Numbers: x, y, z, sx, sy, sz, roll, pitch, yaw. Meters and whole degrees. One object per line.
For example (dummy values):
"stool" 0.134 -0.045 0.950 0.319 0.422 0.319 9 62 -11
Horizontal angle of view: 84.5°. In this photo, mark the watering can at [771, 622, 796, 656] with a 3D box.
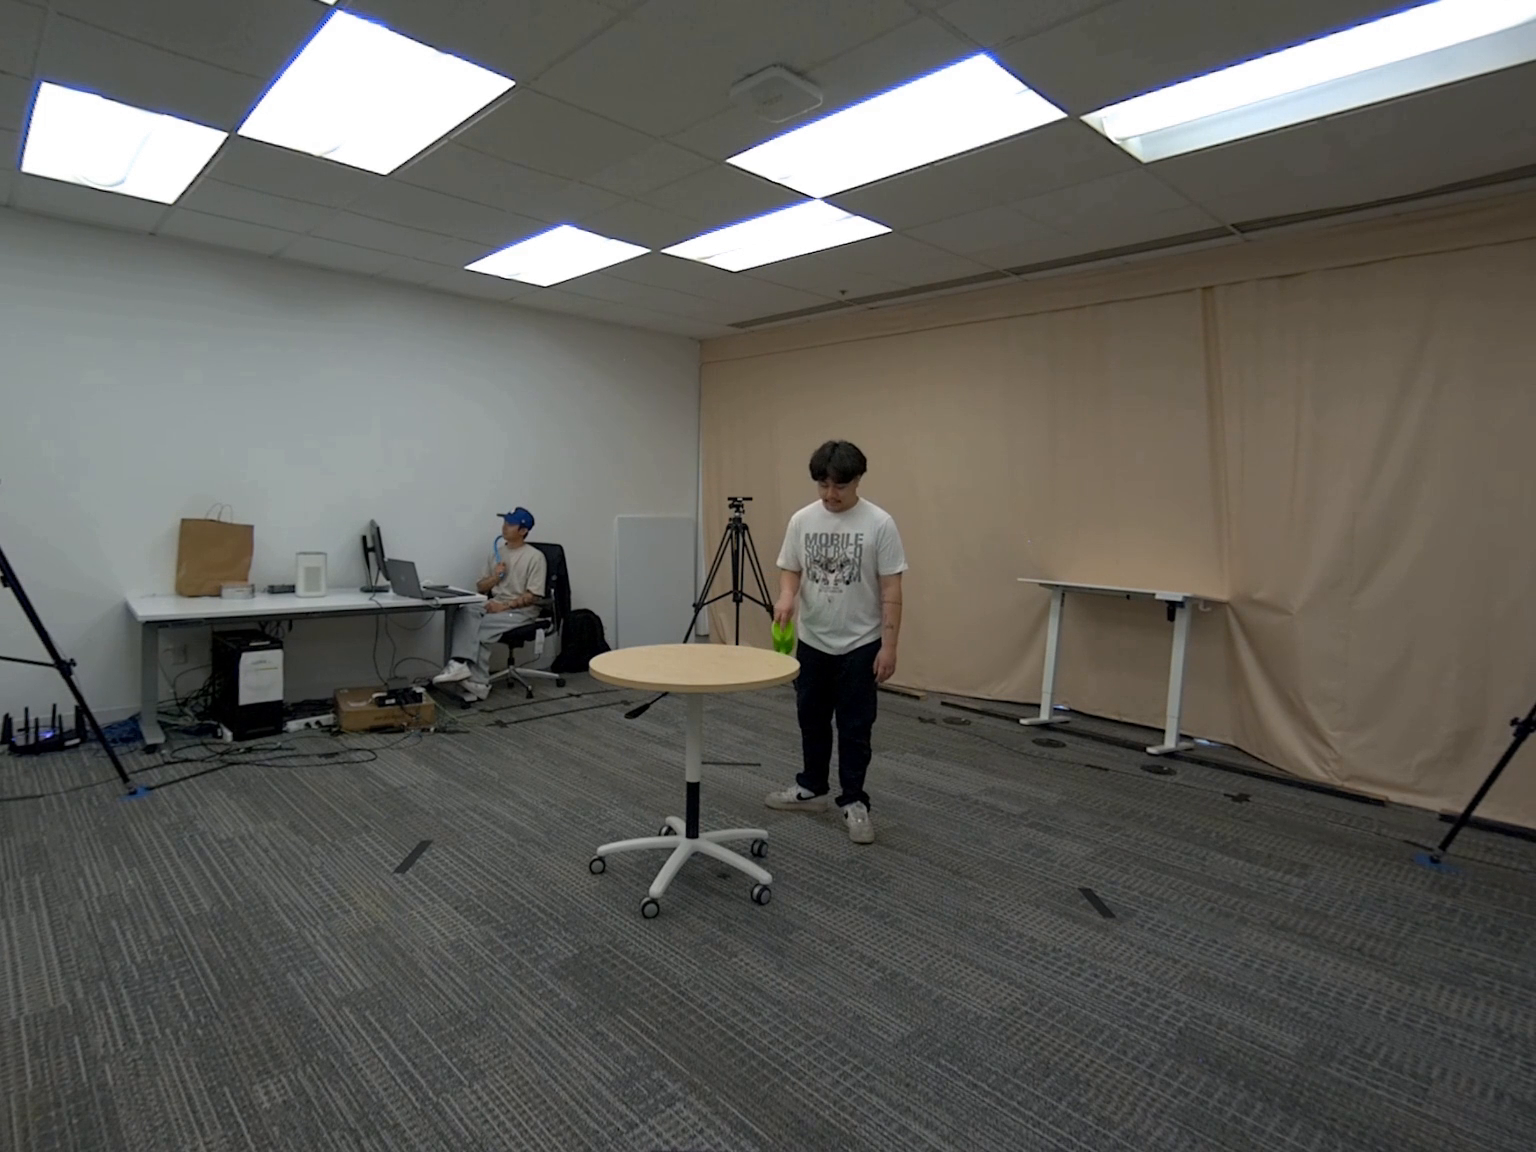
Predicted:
"watering can" 0.043 0.278 3.504 0.099 0.282 0.173 9 -32 8
